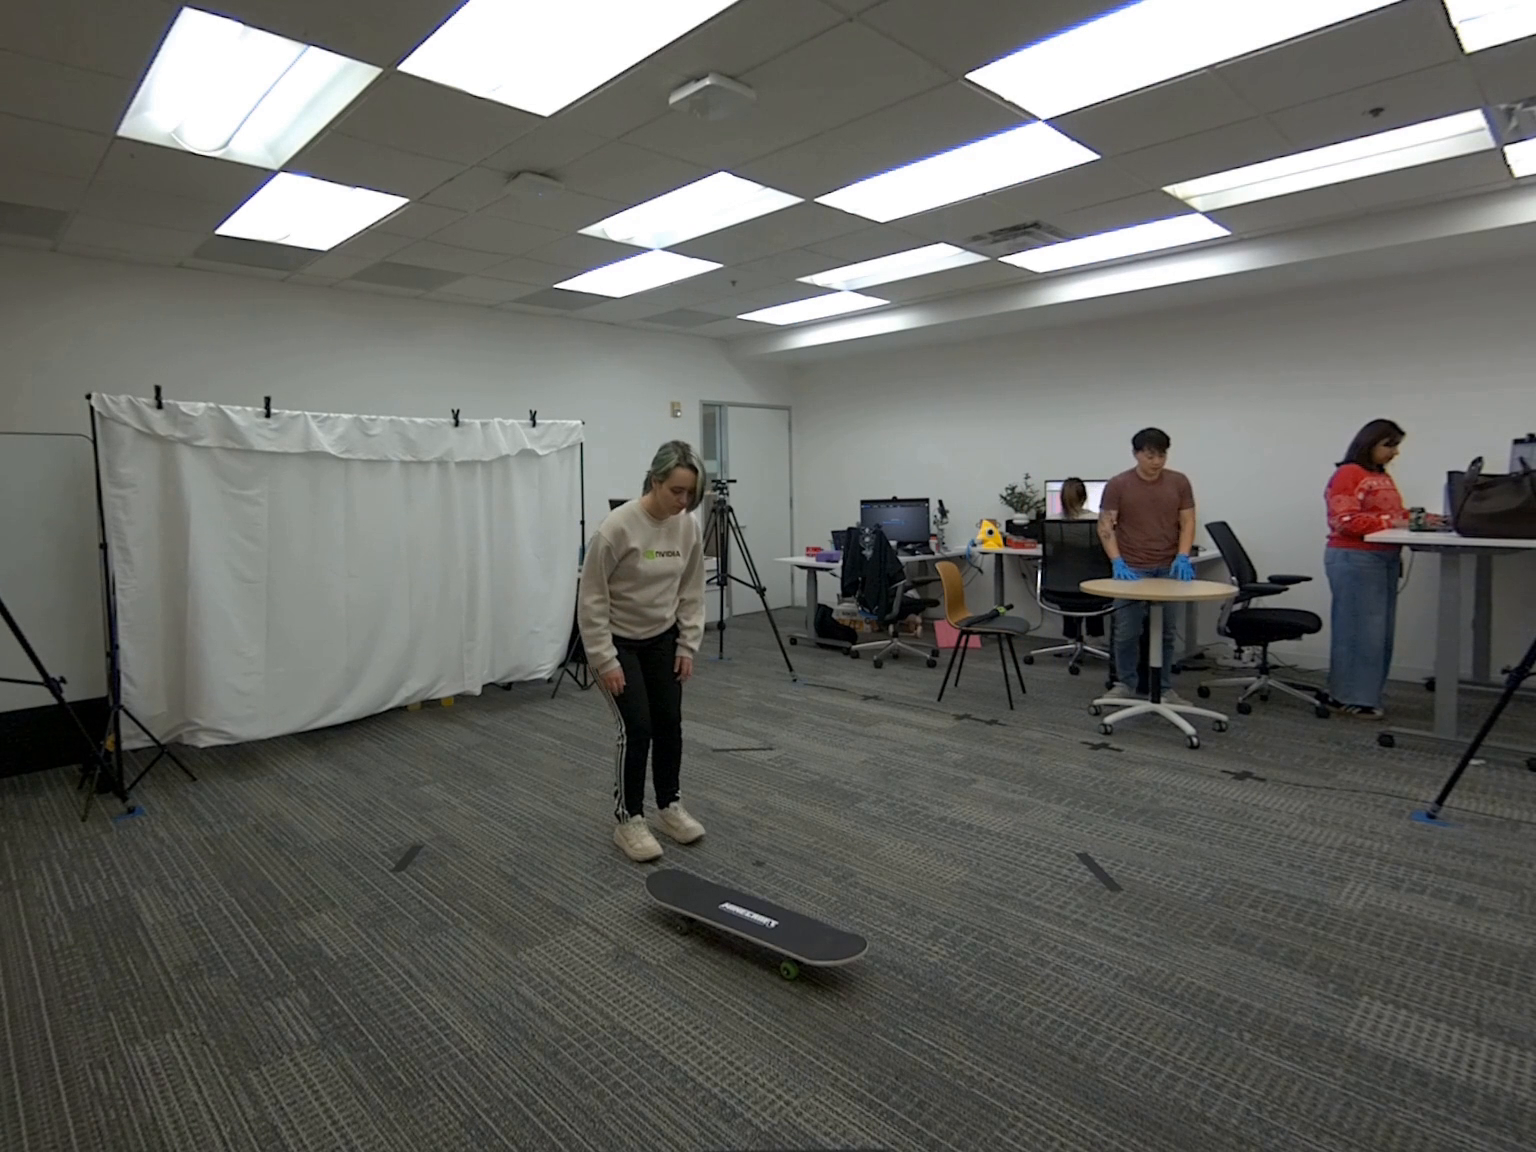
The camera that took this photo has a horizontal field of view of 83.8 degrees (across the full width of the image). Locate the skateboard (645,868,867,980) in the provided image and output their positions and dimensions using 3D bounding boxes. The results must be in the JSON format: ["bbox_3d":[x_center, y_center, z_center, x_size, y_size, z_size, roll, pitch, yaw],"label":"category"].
[{"bbox_3d":[-0.057,1.056,2.567,0.808,0.110,0.189,3,8,37],"label":"skateboard"}]
